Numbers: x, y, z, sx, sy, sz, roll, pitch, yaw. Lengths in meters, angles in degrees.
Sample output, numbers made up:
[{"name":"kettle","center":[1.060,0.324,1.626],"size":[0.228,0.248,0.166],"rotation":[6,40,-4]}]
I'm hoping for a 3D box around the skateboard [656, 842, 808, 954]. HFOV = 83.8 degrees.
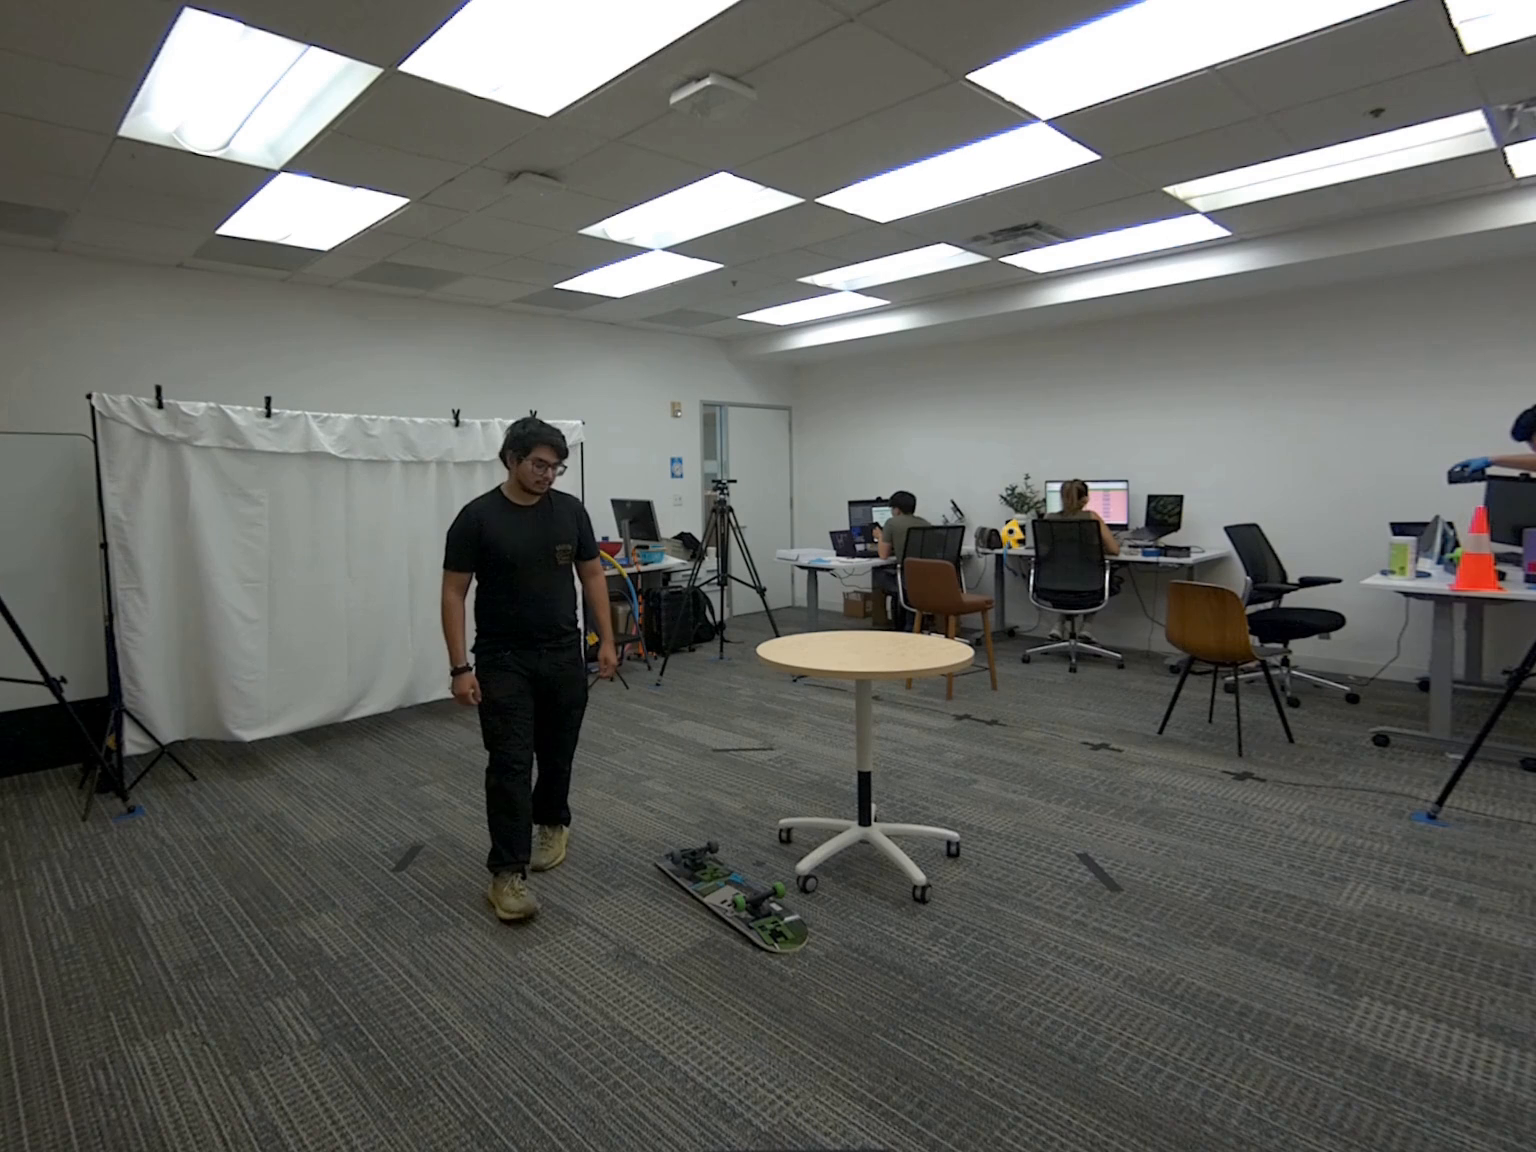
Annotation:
[{"name":"skateboard","center":[-0.143,1.028,2.858],"size":[0.189,0.110,0.808],"rotation":[-5,7,-34]}]
